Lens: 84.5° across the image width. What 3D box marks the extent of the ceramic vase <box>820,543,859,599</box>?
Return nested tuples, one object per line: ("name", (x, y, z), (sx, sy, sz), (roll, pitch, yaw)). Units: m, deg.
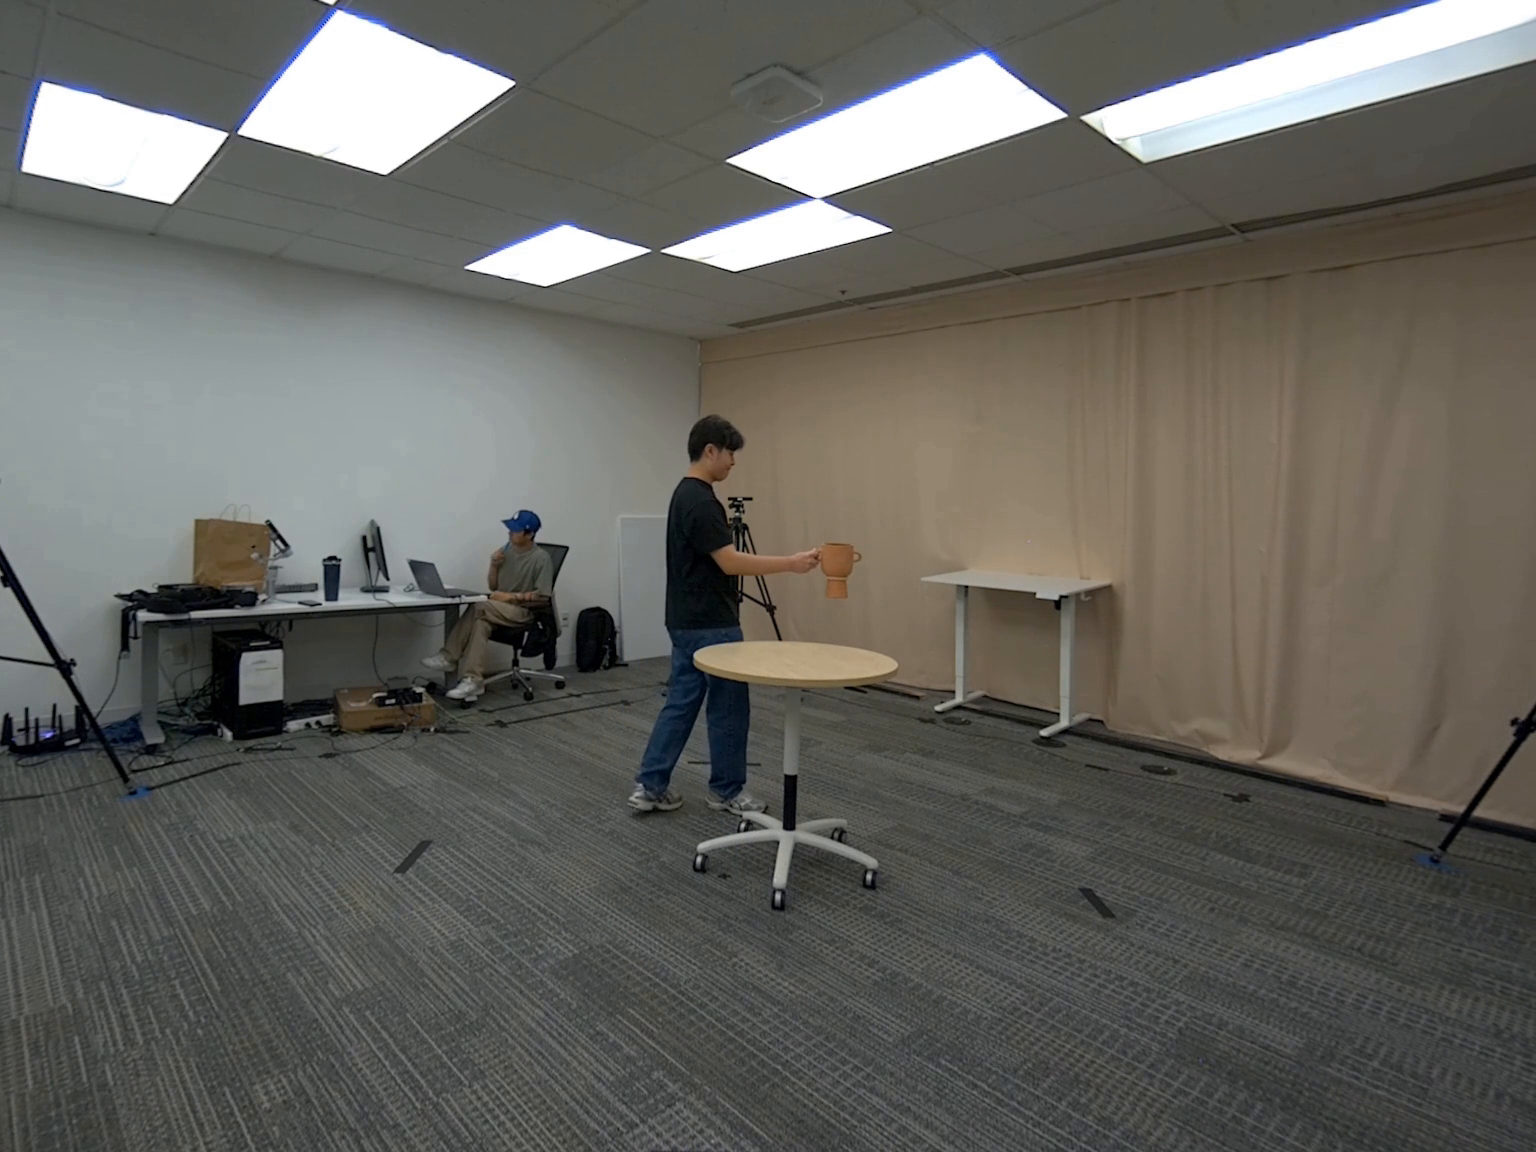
("ceramic vase", (0.279, -0.025, 3.496), (0.132, 0.219, 0.163), (-5, 9, -44))
